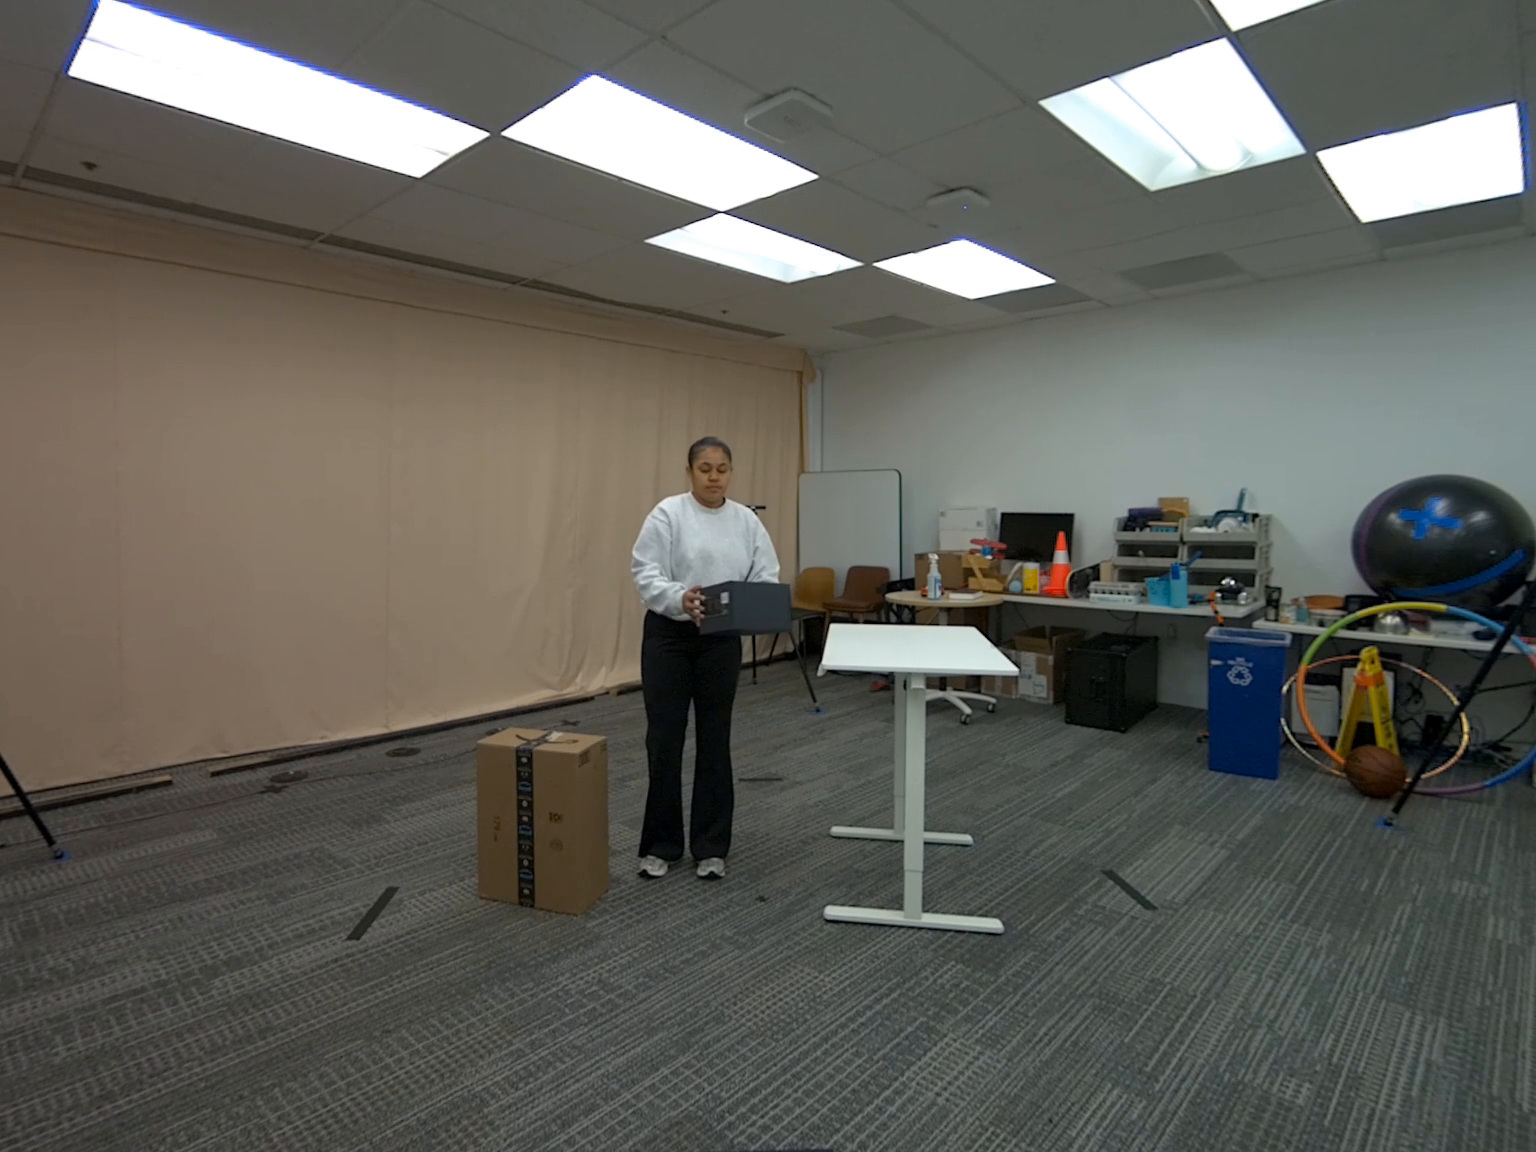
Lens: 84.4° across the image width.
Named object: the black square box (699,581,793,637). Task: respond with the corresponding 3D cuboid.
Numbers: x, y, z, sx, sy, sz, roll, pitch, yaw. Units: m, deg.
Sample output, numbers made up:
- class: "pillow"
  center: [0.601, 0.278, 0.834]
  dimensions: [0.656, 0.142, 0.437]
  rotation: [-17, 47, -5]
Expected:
- class: "black square box"
  center: [-0.077, 0.112, 2.793]
  dimensions: [0.221, 0.157, 0.222]
  rotation: [4, -9, -32]
